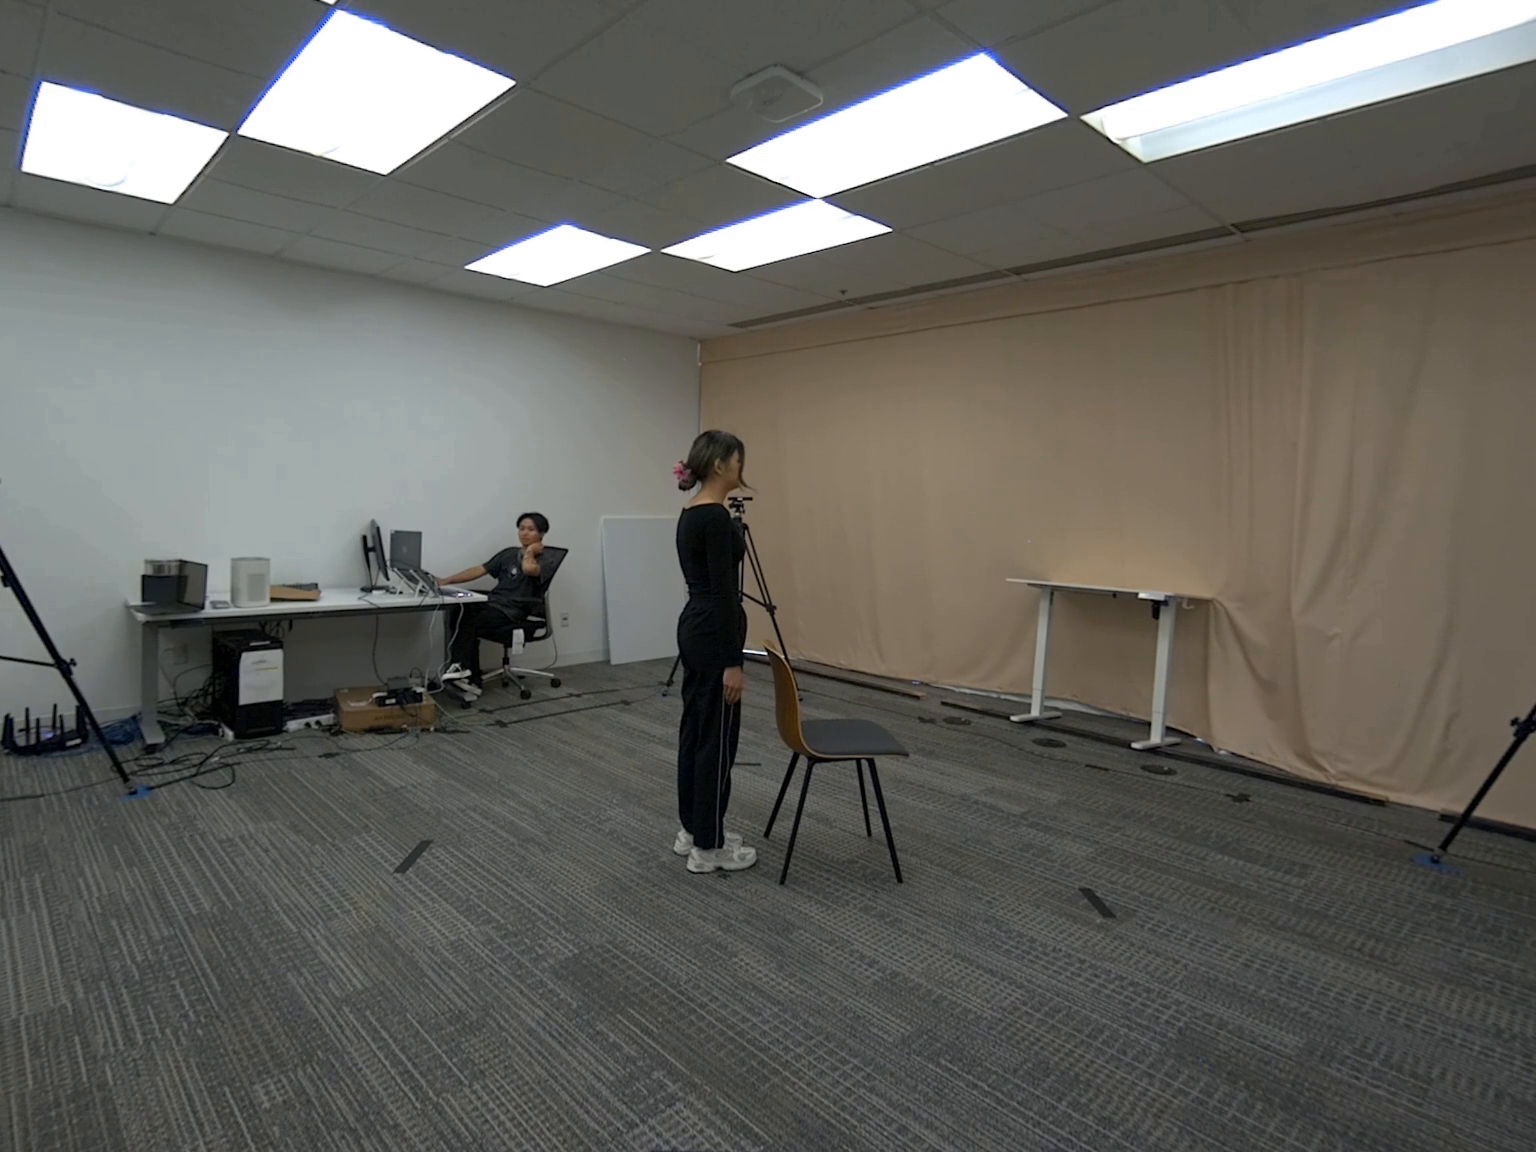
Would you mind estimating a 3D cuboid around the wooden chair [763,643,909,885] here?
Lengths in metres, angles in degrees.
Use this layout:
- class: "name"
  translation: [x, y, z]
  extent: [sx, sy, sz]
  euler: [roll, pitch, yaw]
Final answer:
- class: "wooden chair"
  translation: [0.251, 0.673, 3.255]
  extent: [0.521, 0.876, 0.481]
  euler: [-3, 3, -6]
